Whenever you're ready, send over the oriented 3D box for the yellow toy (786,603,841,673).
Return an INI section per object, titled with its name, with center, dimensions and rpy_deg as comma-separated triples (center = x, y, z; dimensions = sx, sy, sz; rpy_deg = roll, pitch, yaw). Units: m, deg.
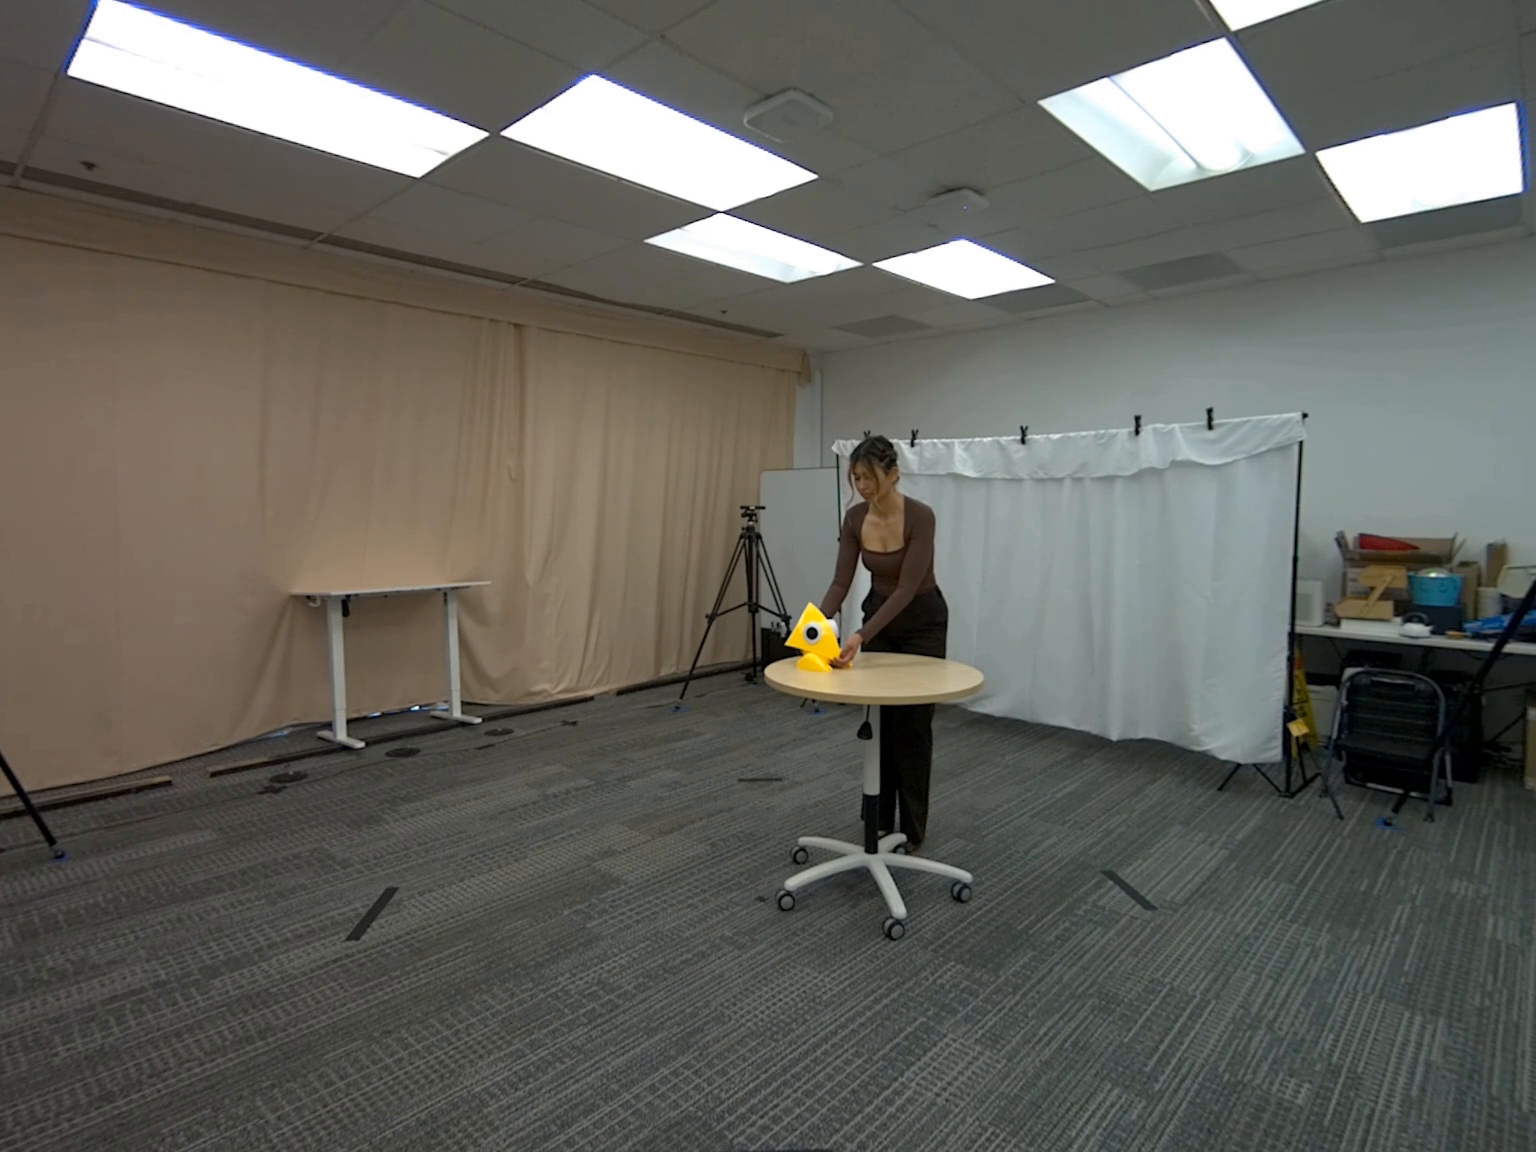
[yellow toy]
center = 0.198, 0.218, 3.127
dimensions = 0.199, 0.230, 0.199
rpy_deg = -4, 6, -40
